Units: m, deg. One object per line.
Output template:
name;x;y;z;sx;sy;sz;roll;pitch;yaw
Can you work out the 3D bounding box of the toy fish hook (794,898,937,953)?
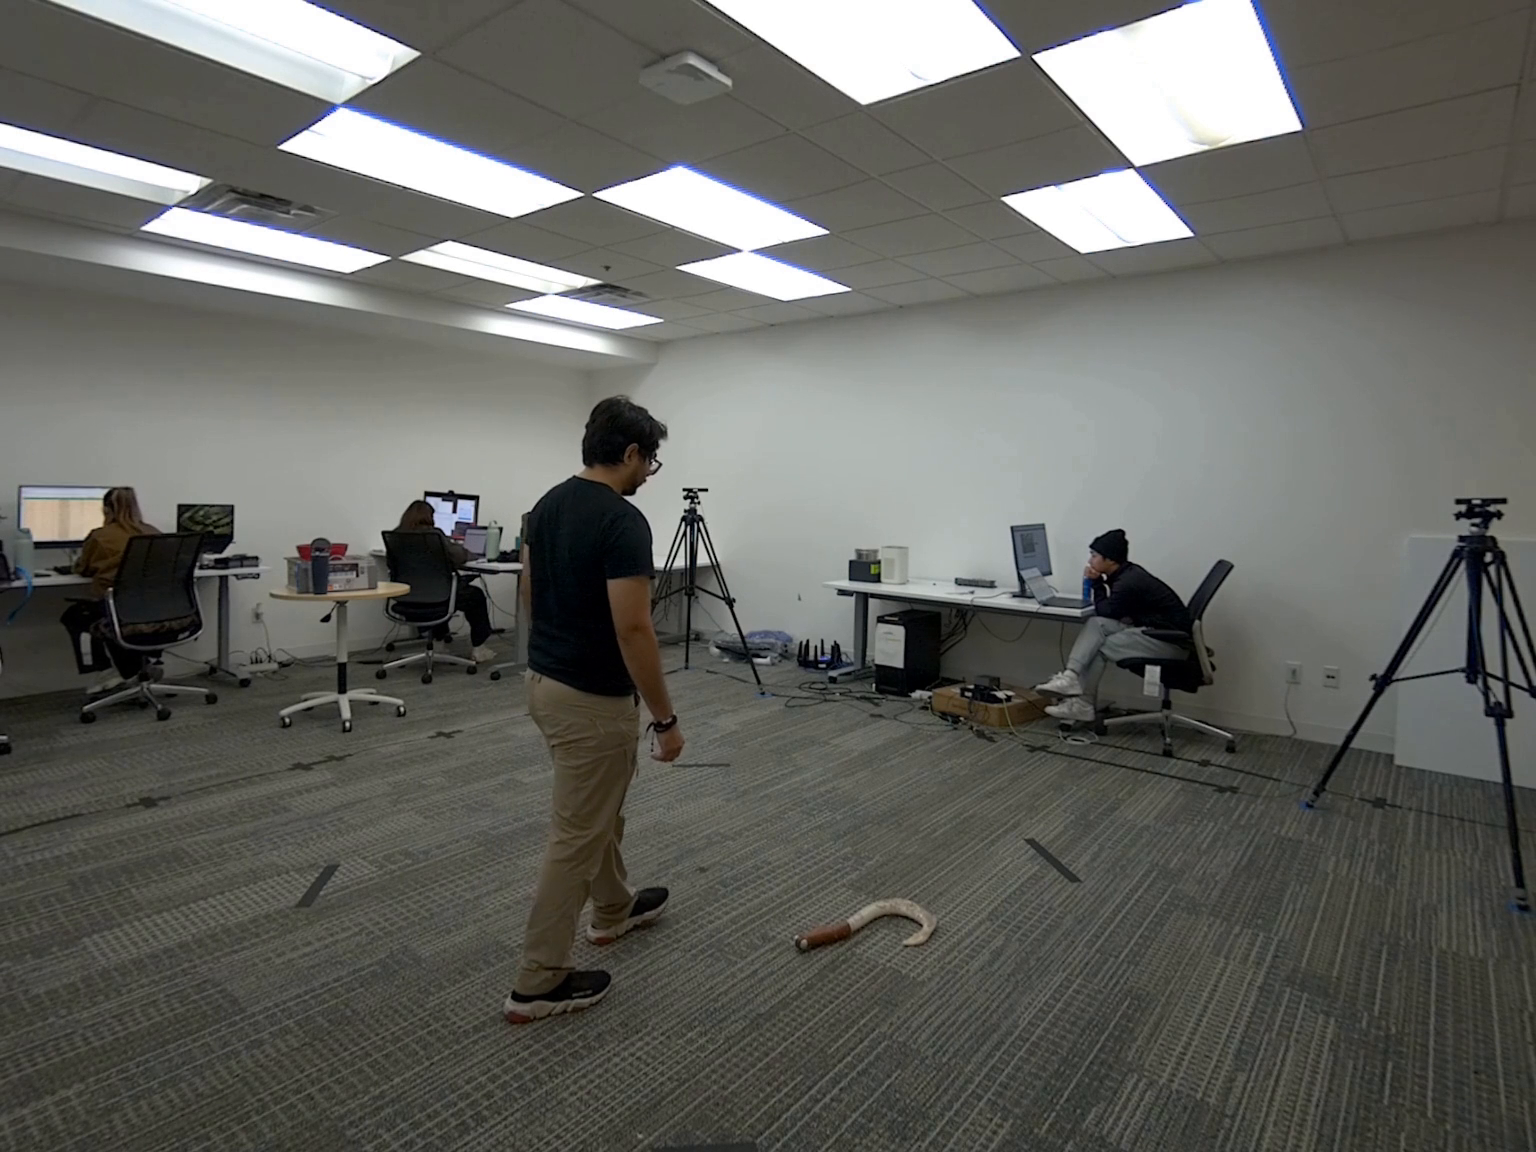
toy fish hook;0.317;1.107;2.657;0.492;0.048;0.232;-3;6;-34
